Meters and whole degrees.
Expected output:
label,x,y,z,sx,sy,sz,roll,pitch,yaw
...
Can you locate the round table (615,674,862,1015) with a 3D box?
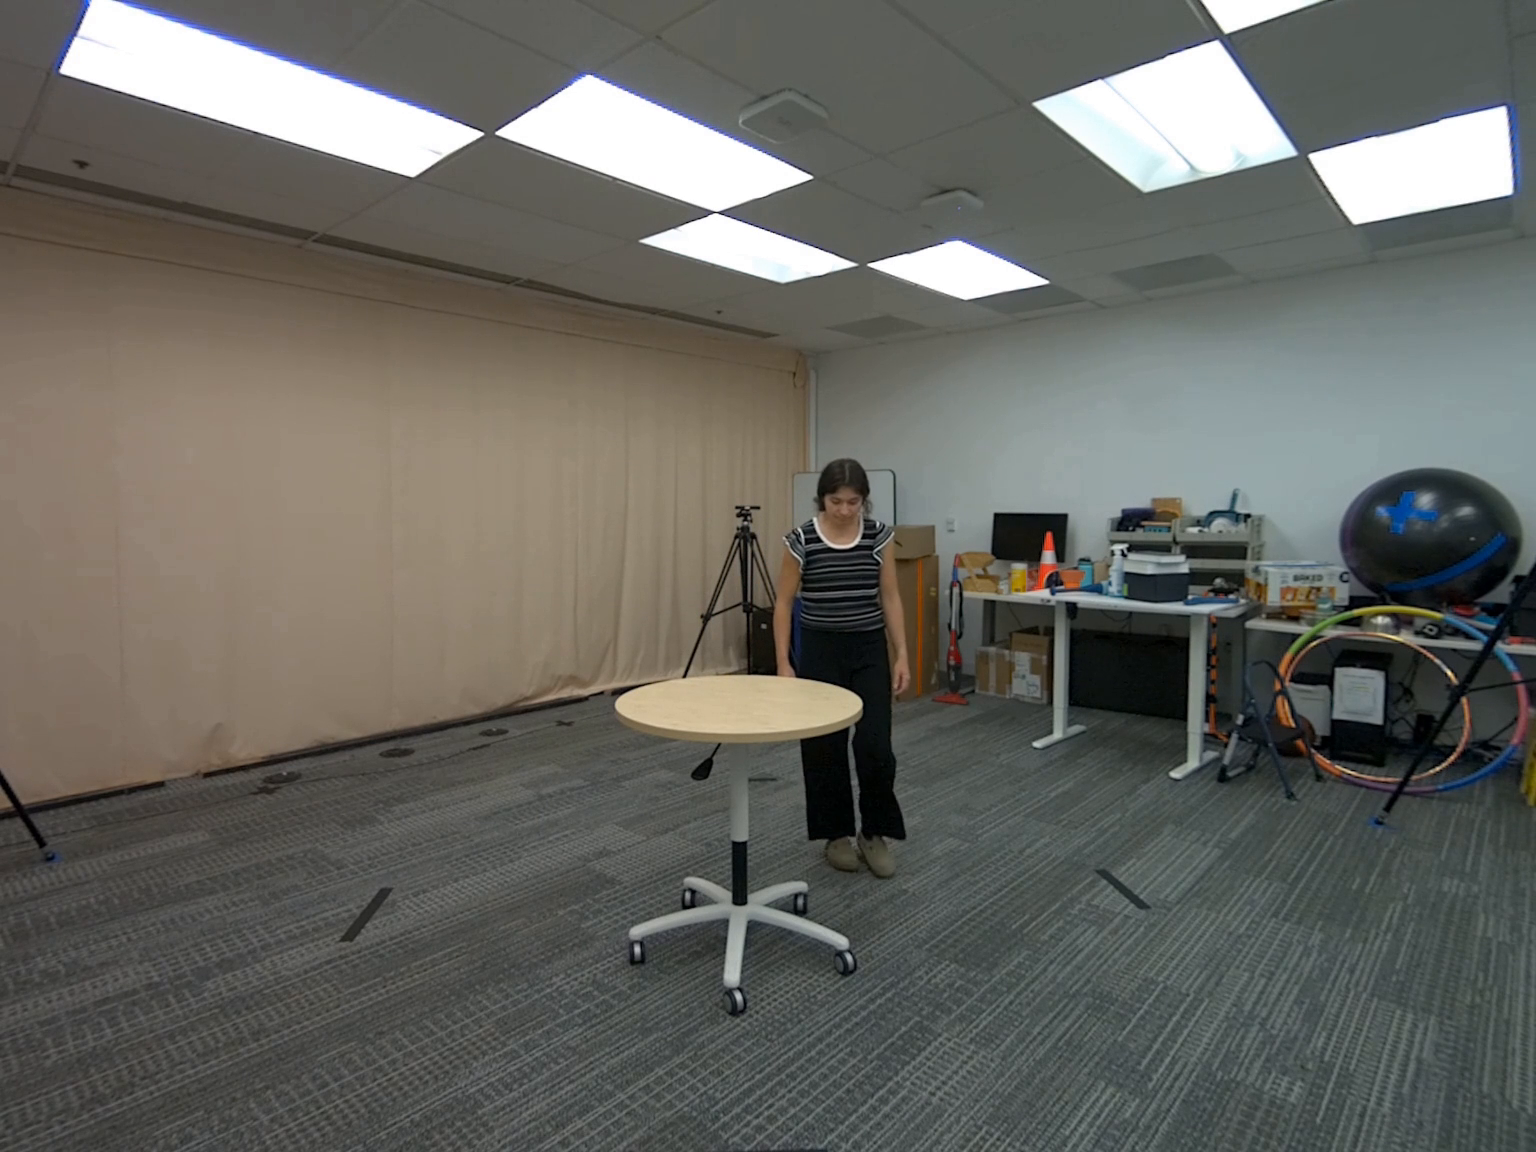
label,x,y,z,sx,sy,sz,roll,pitch,yaw
round table,-0.073,0.779,2.648,0.784,0.784,0.788,-1,4,-2
